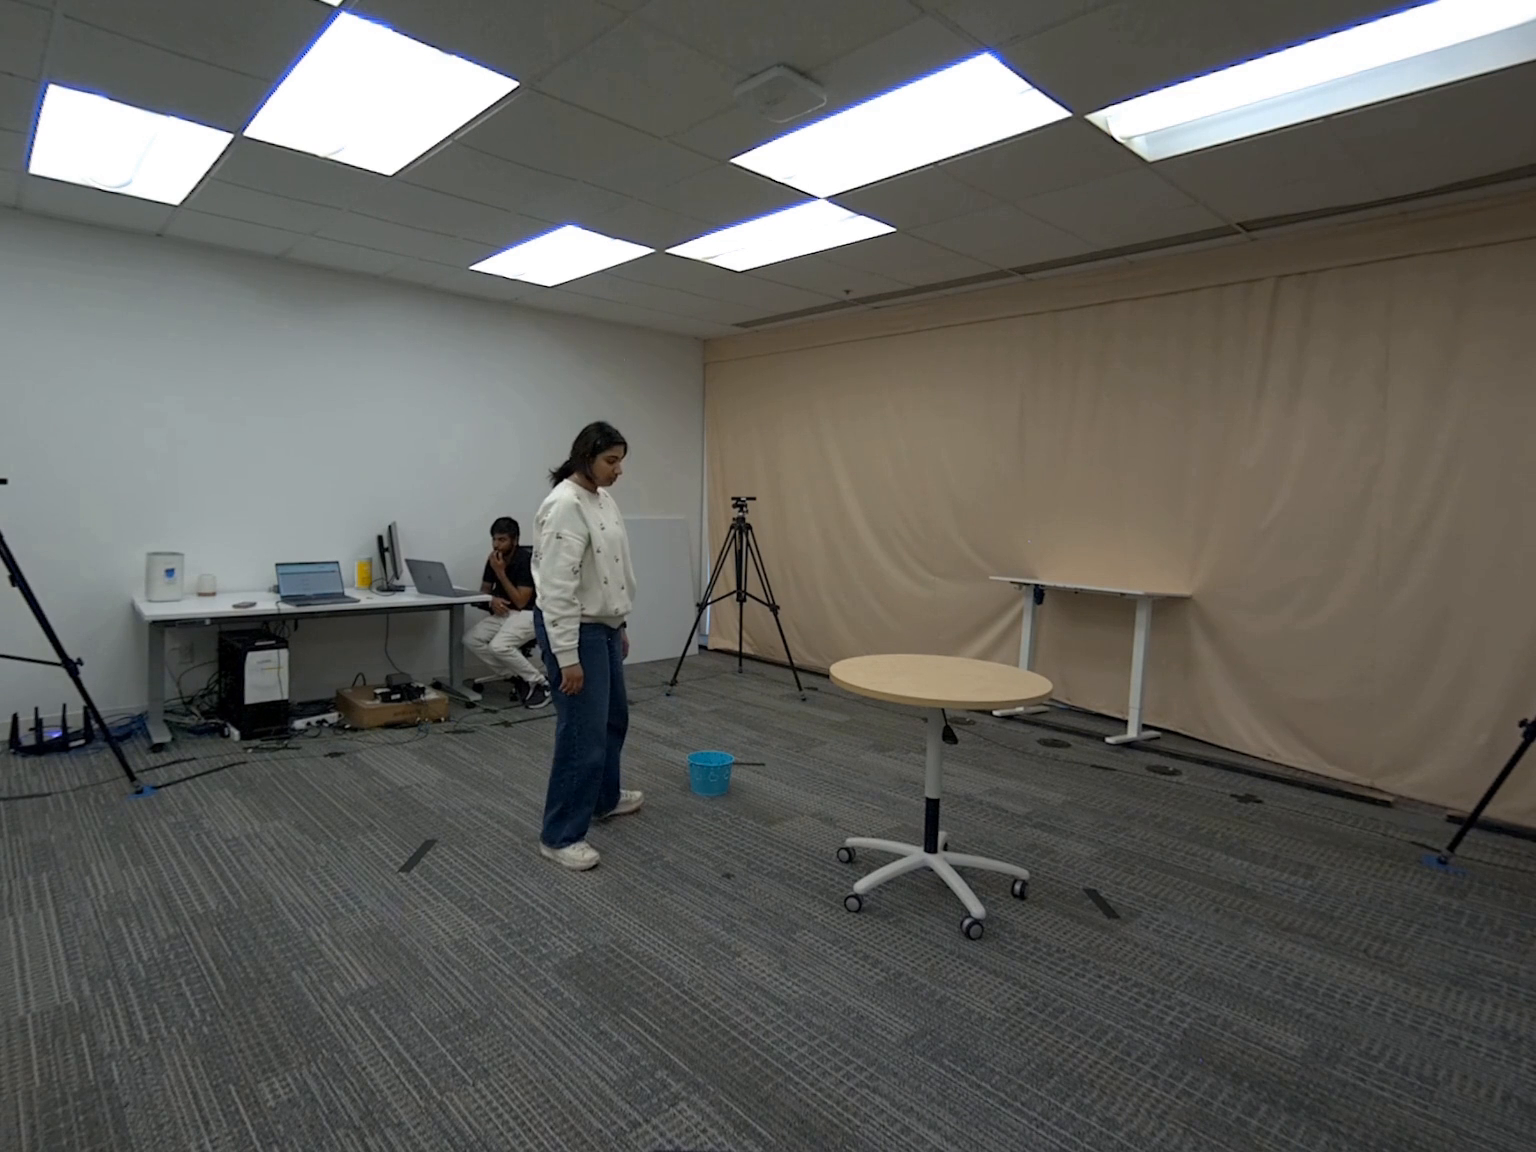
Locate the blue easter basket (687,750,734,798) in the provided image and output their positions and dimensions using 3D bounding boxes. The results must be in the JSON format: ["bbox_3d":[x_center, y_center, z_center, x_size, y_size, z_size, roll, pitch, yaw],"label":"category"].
[{"bbox_3d":[-0.288,0.945,4.048,0.243,0.155,0.244,1,5,-1],"label":"blue easter basket"}]
